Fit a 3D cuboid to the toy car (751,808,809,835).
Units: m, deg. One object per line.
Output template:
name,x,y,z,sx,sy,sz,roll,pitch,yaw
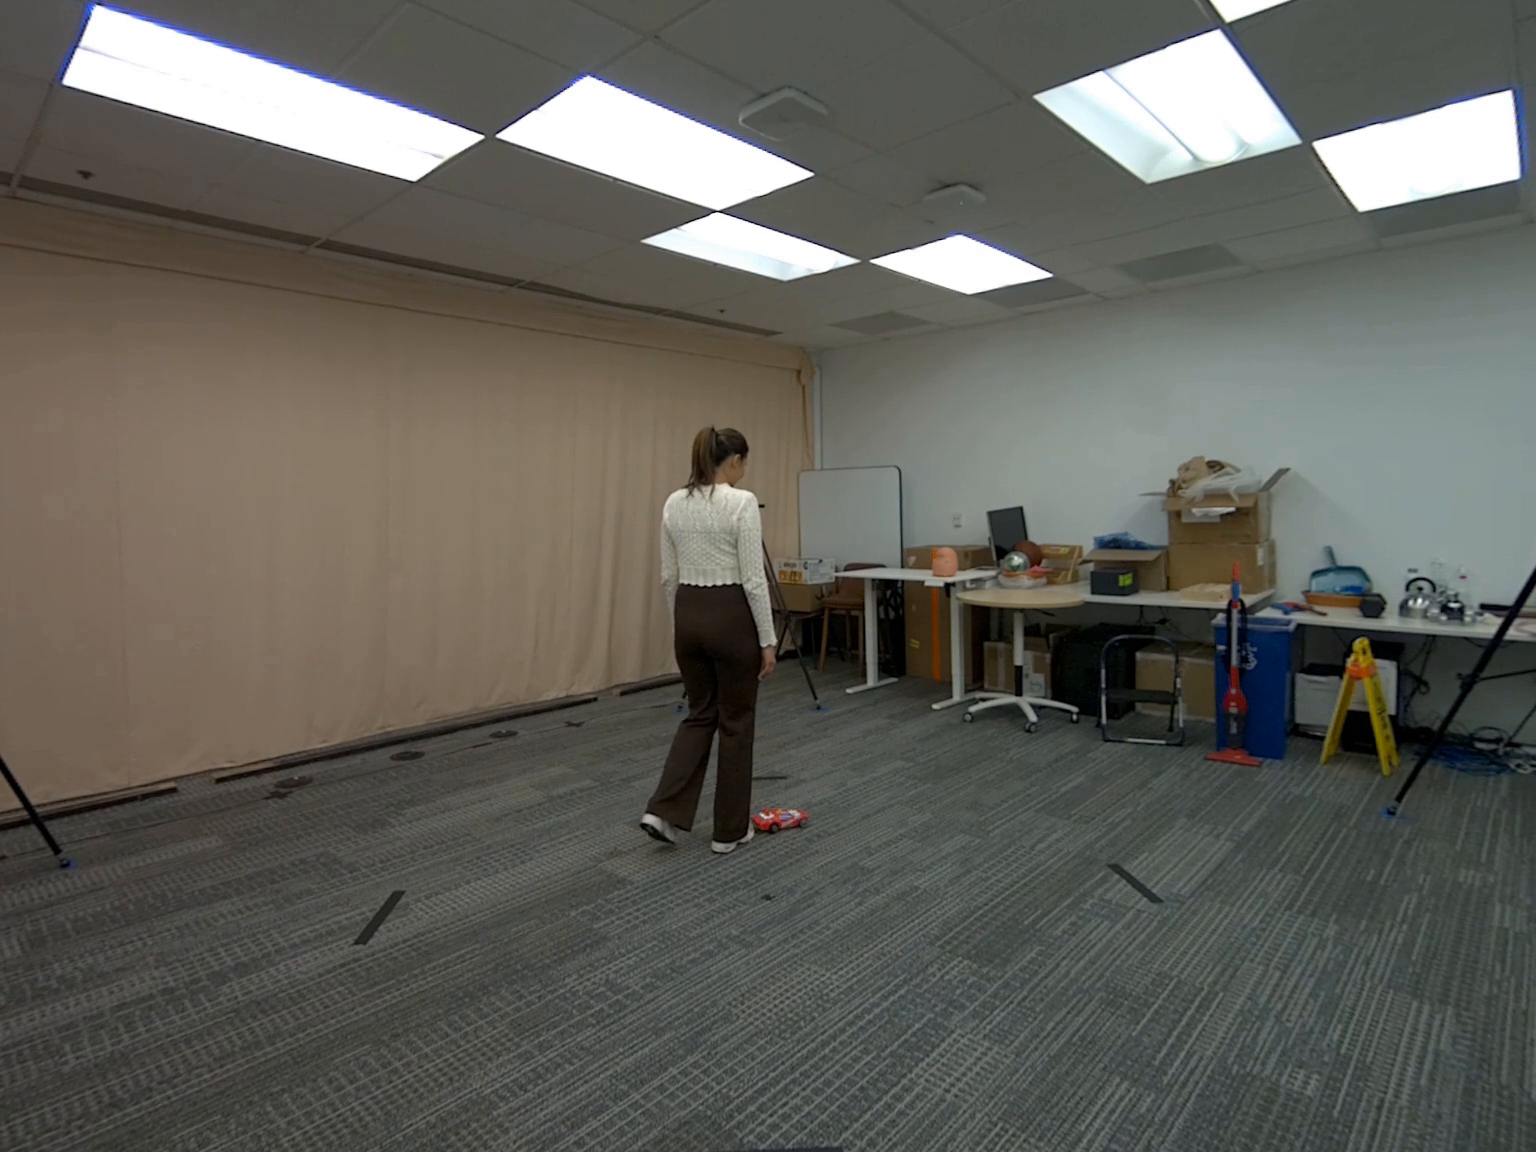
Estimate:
toy car,0.046,1.051,3.627,0.248,0.083,0.133,9,-3,-24
